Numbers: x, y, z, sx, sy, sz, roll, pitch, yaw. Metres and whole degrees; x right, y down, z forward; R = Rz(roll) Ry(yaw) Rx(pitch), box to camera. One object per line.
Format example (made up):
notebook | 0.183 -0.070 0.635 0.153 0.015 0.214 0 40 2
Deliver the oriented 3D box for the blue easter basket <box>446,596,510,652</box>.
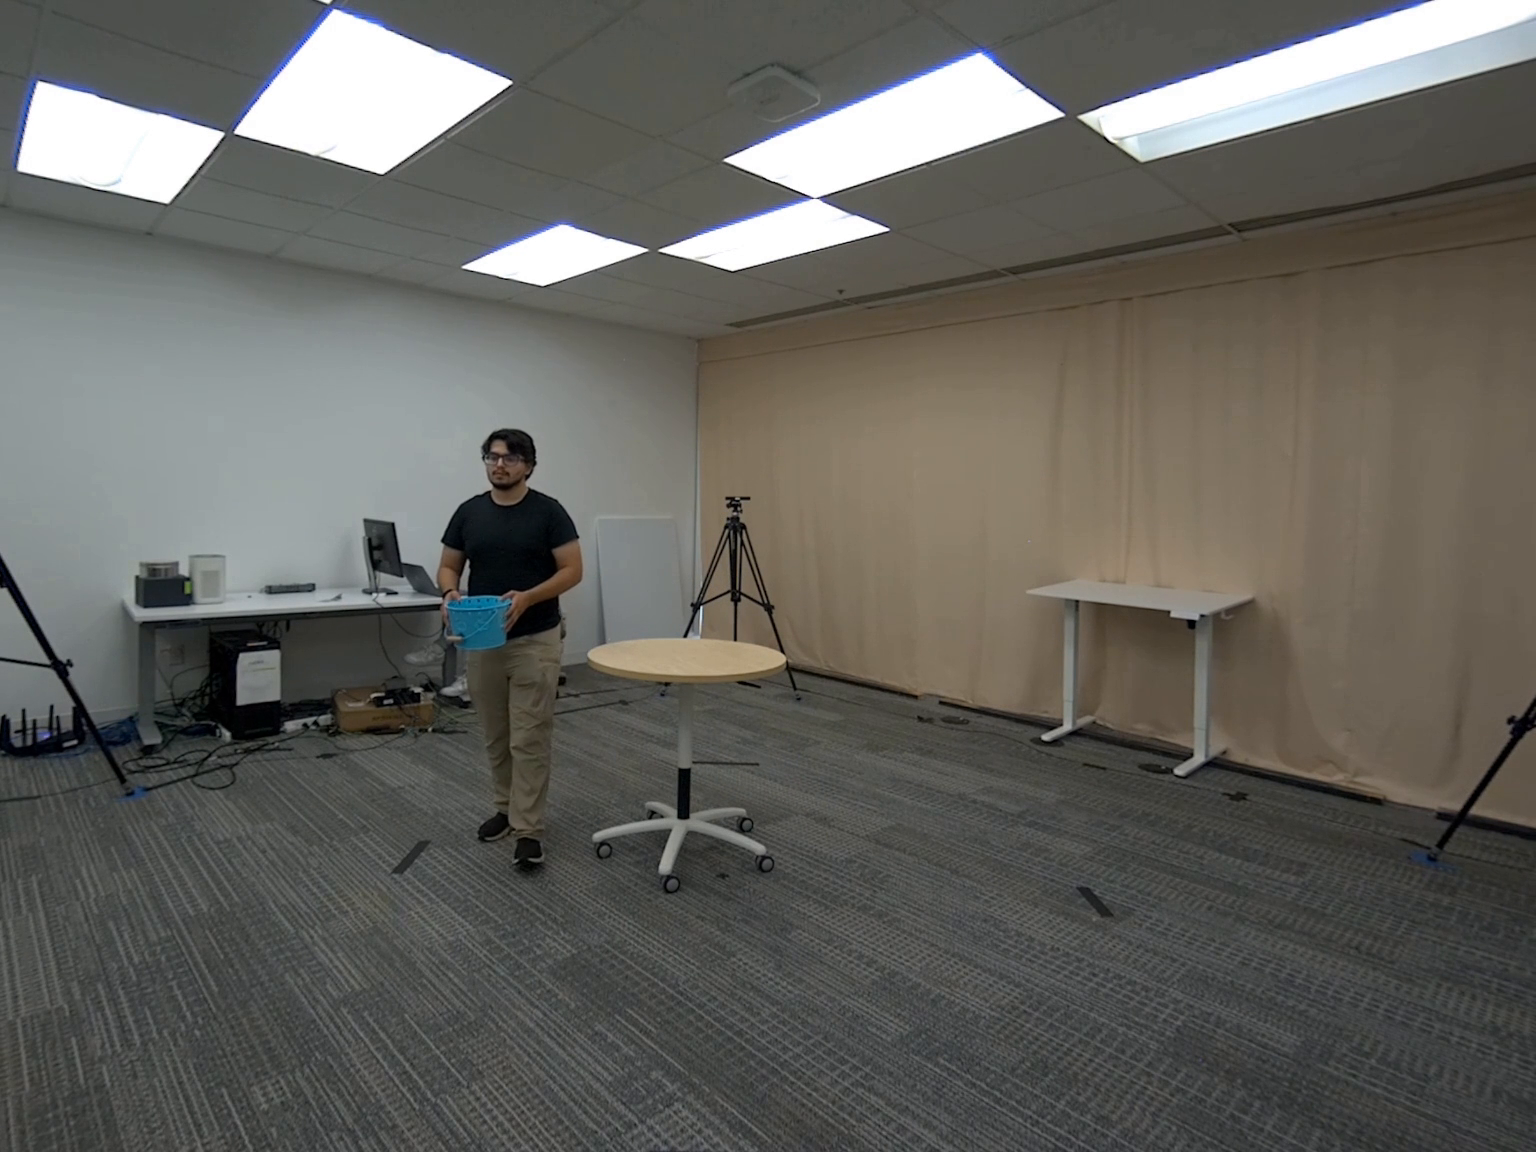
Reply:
blue easter basket | -1.086 0.173 3.061 0.243 0.155 0.245 -1 7 -1
